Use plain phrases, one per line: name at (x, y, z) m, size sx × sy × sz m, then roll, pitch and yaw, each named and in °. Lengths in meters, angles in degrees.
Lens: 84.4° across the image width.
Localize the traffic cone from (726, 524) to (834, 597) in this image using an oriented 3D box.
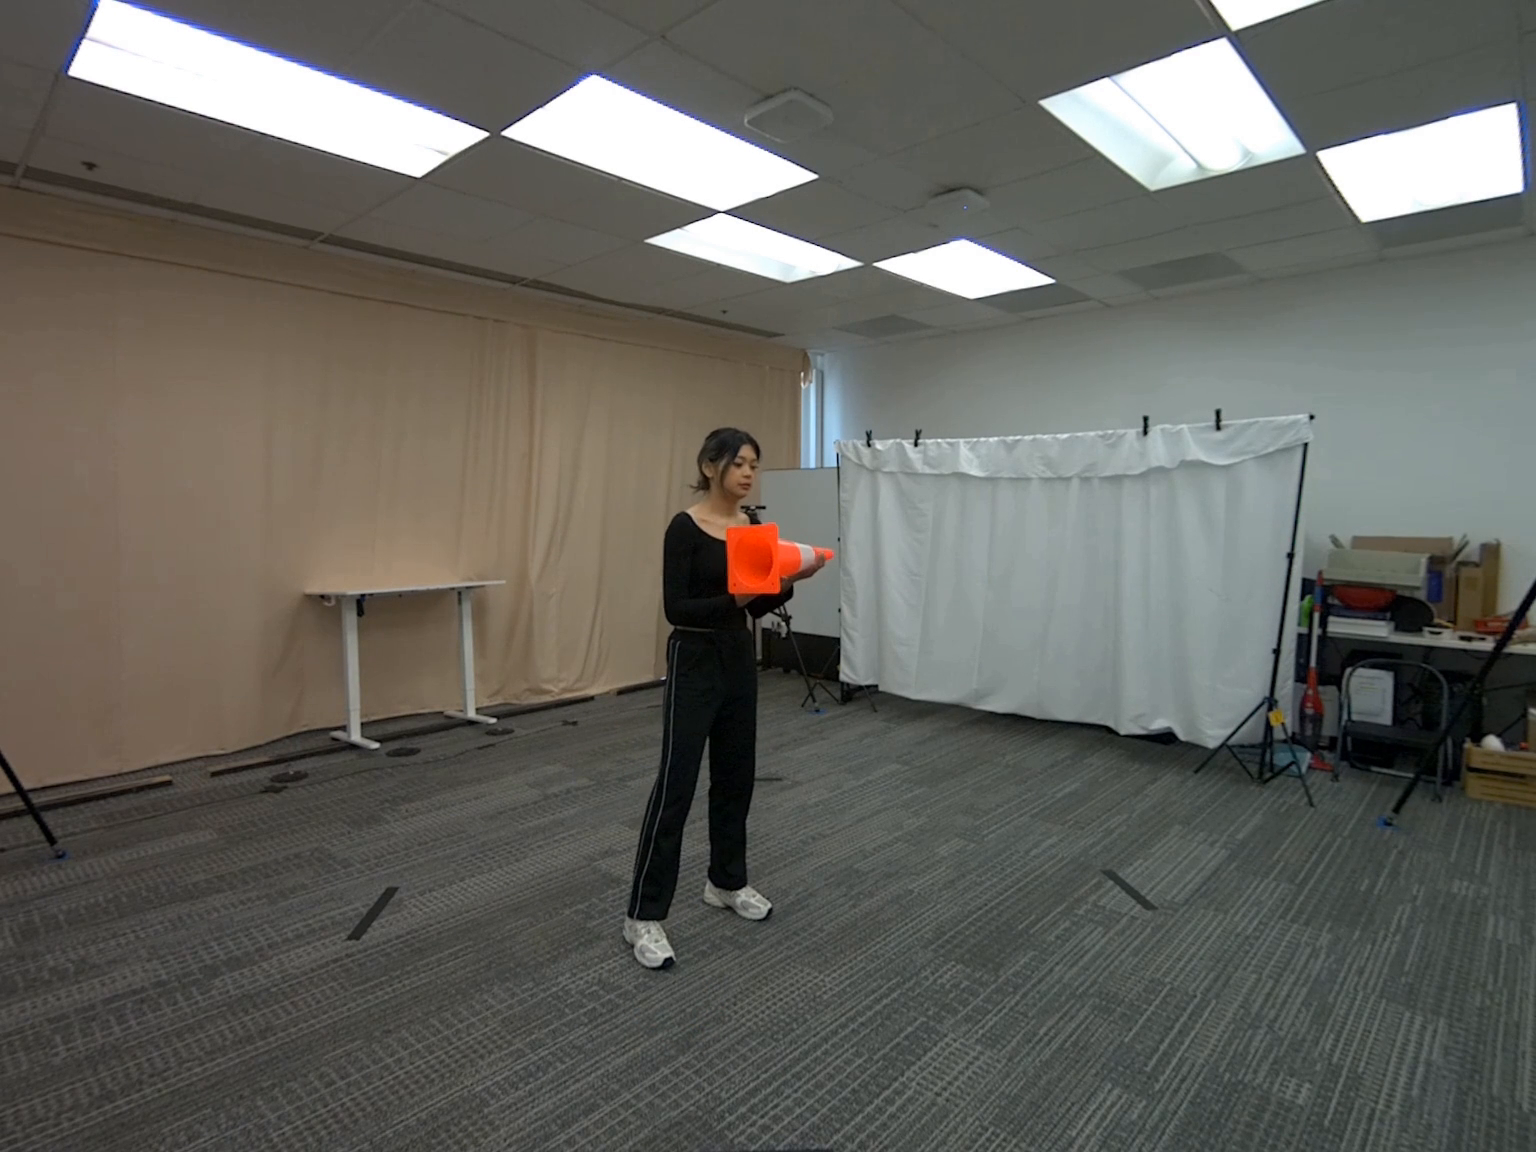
traffic cone at (0.071, -0.056, 2.591) m, size 0.210 × 0.205 × 0.372 m, roll -1°, pitch 3°, yaw 43°
